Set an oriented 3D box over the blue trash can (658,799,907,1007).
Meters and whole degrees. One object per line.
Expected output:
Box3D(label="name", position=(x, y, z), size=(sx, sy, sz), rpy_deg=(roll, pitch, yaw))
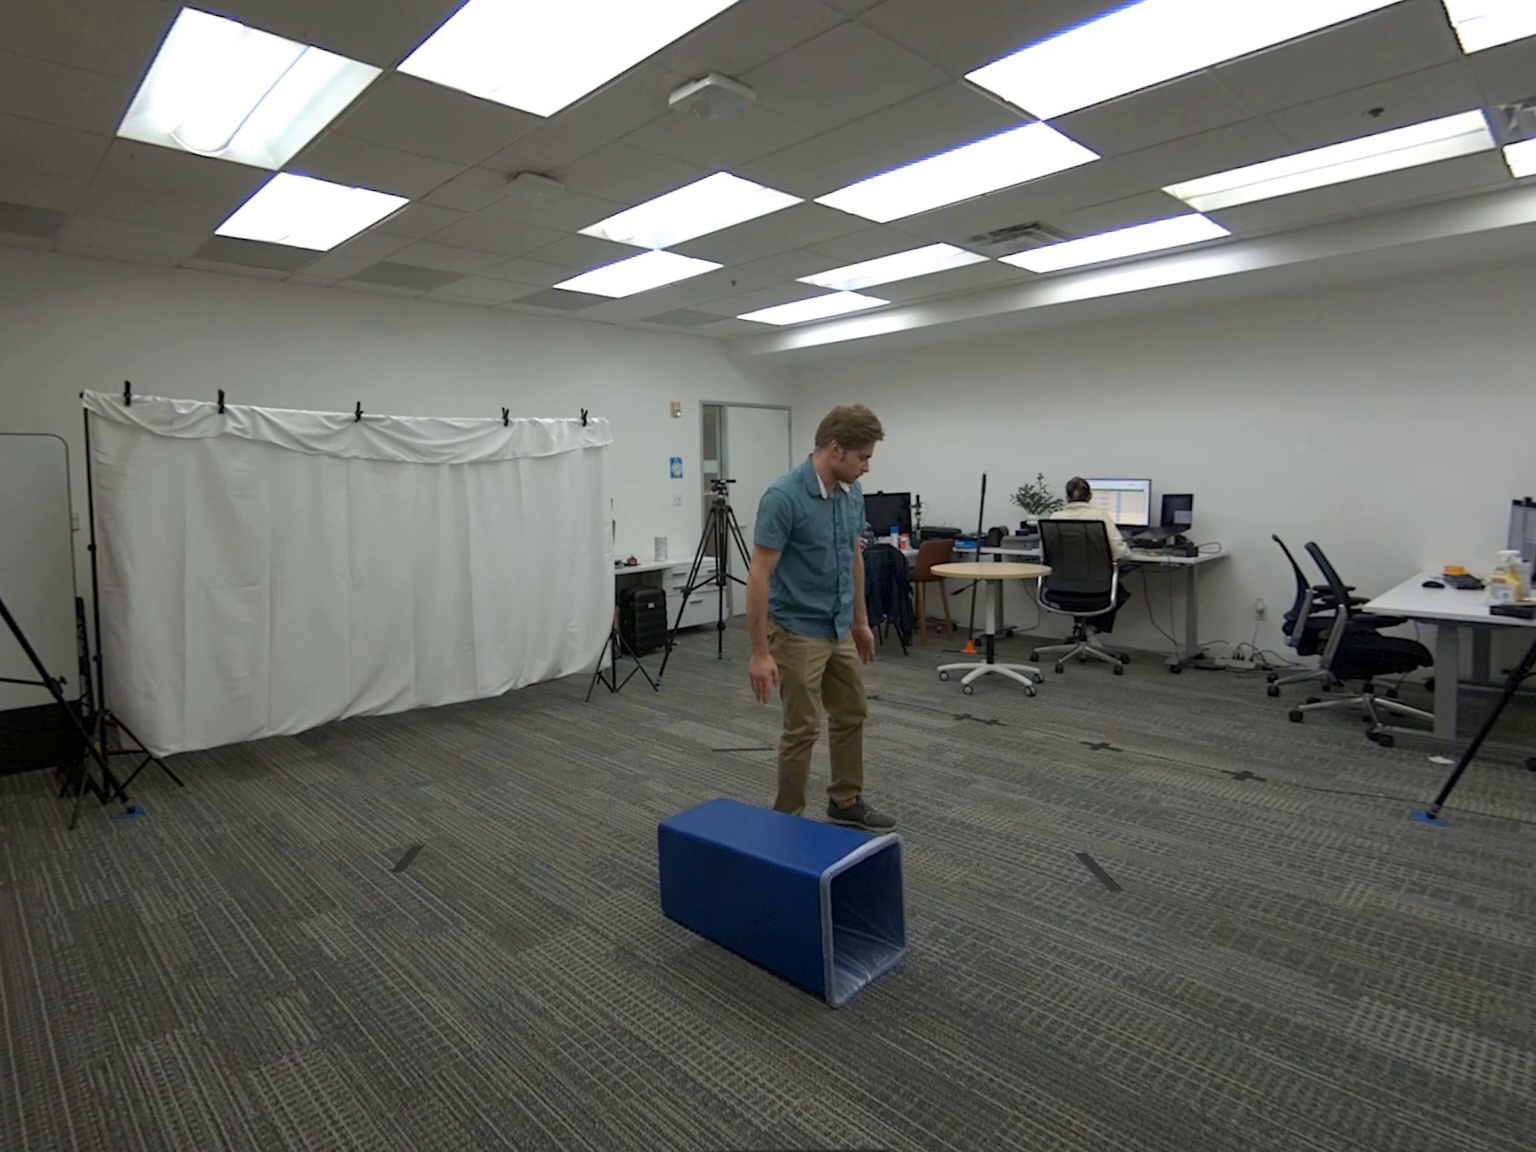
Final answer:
Box3D(label="blue trash can", position=(0.008, 0.945, 2.602), size=(0.734, 0.377, 0.364), rpy_deg=(0, 5, 43))
